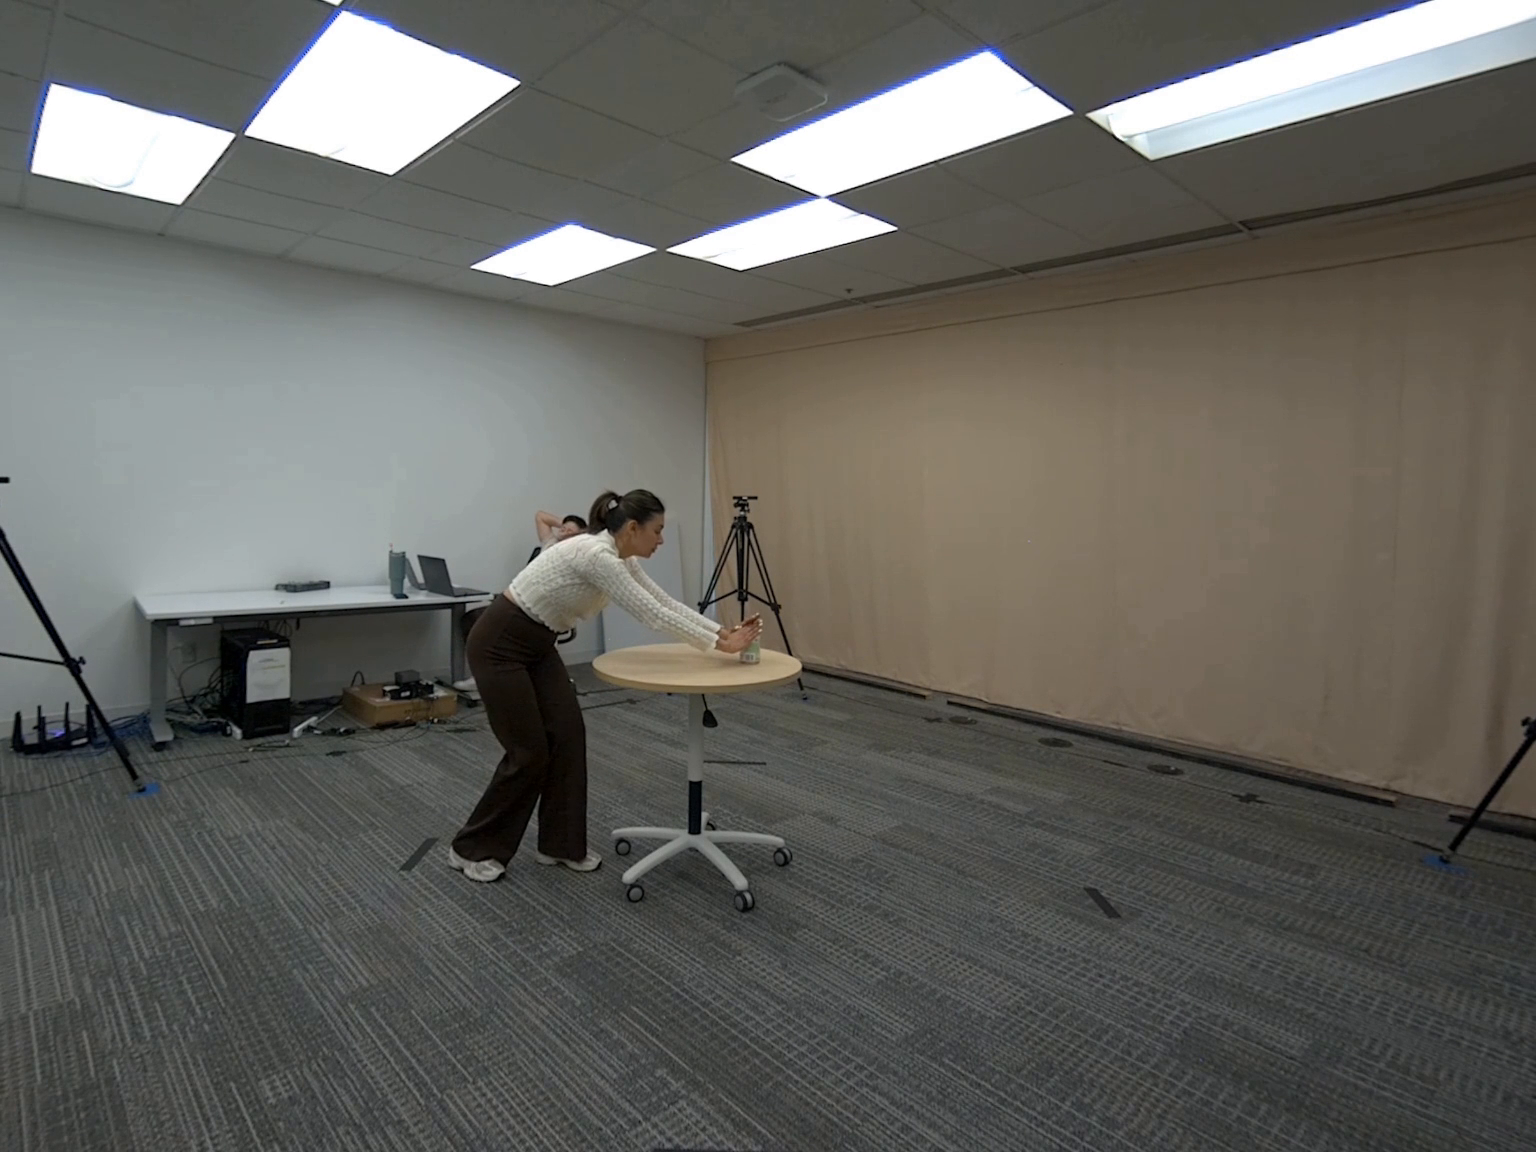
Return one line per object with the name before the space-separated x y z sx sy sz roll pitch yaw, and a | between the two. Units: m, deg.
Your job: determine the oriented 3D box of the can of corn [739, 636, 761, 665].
can of corn | -0.074 0.263 3.100 0.074 0.111 0.074 0 3 -1
